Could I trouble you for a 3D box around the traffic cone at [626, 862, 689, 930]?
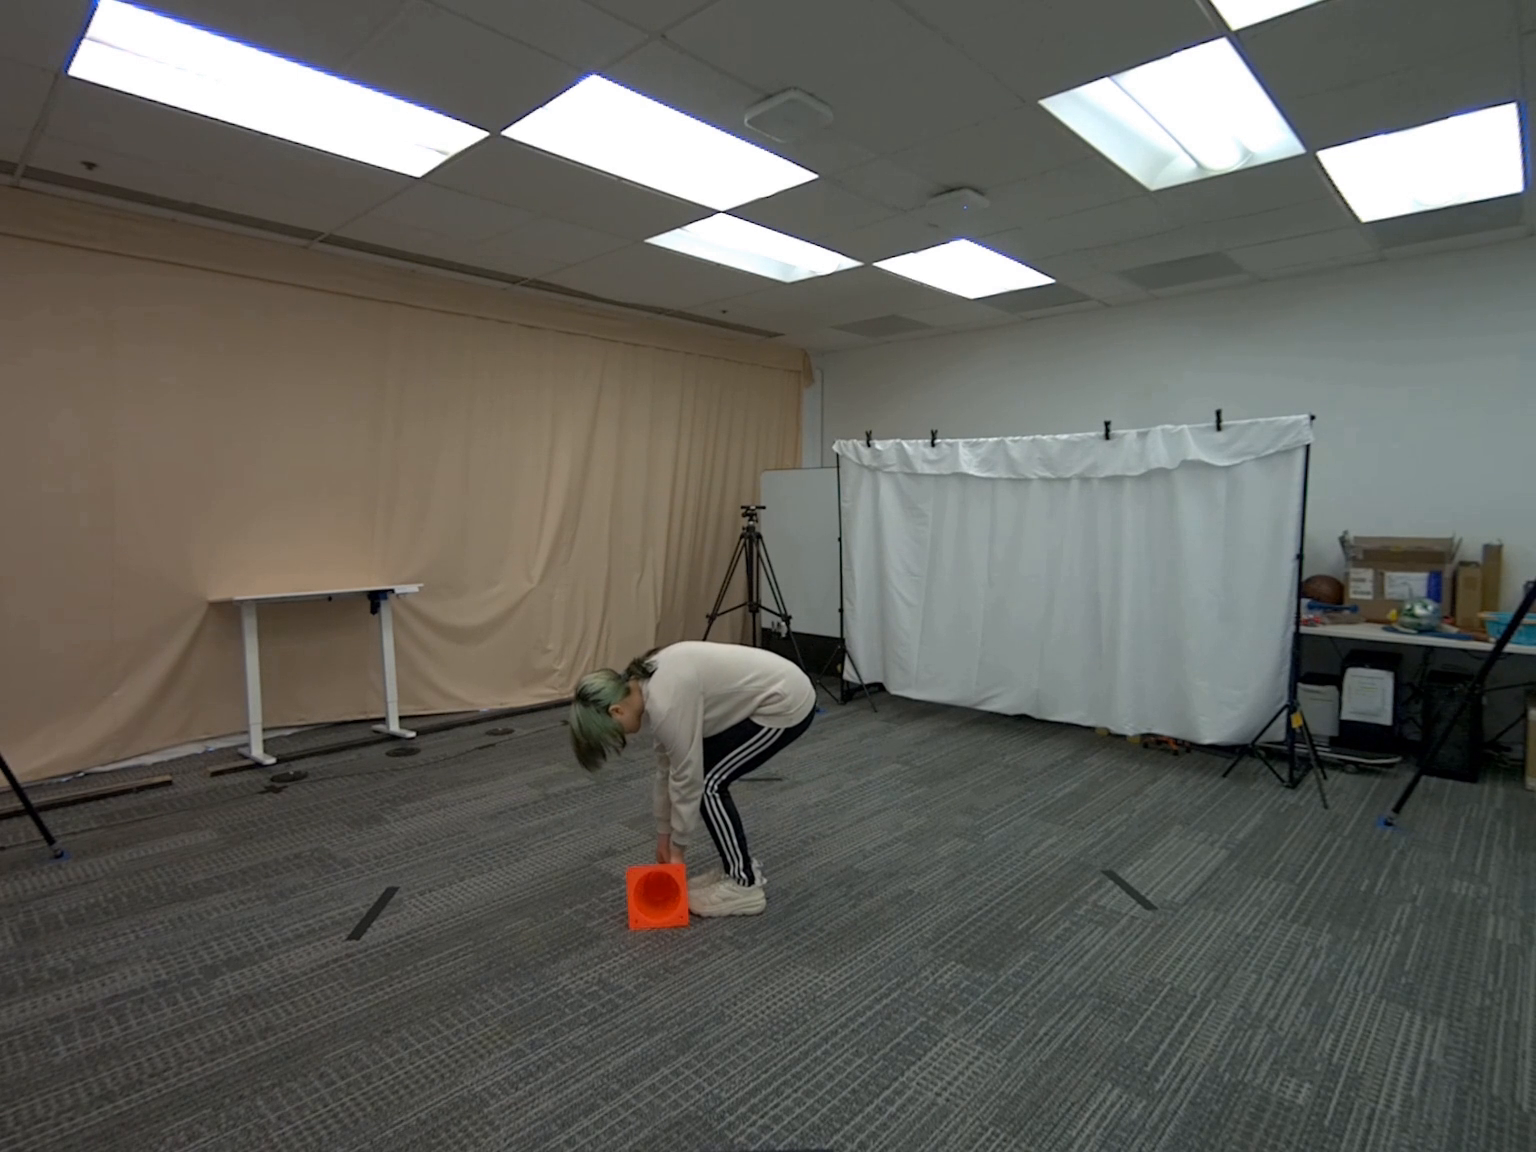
[{"bbox_3d":[-0.398,1.091,2.979,0.203,0.204,0.384,0,-9,-9],"label":"traffic cone"}]
